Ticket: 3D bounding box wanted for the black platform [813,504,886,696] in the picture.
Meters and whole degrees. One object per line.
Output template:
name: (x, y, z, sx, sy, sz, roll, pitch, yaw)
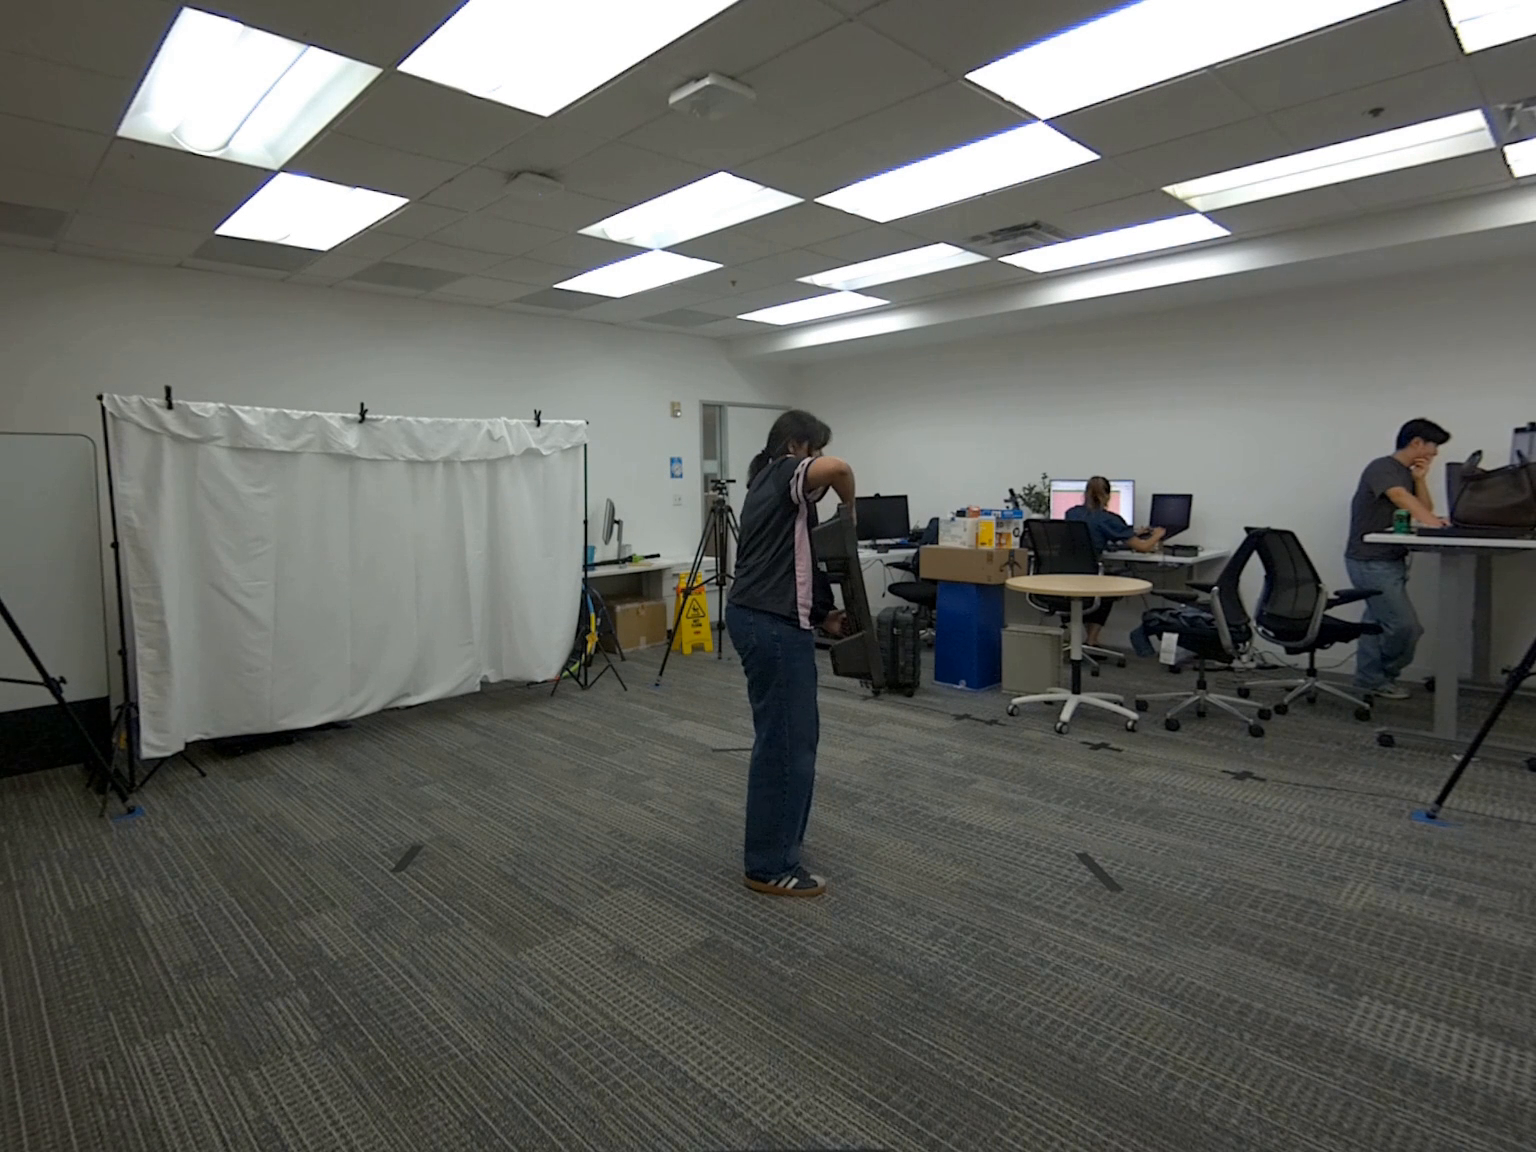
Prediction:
black platform: (0.274, 0.109, 3.059, 0.143, 0.612, 0.795, -11, -10, 1)
